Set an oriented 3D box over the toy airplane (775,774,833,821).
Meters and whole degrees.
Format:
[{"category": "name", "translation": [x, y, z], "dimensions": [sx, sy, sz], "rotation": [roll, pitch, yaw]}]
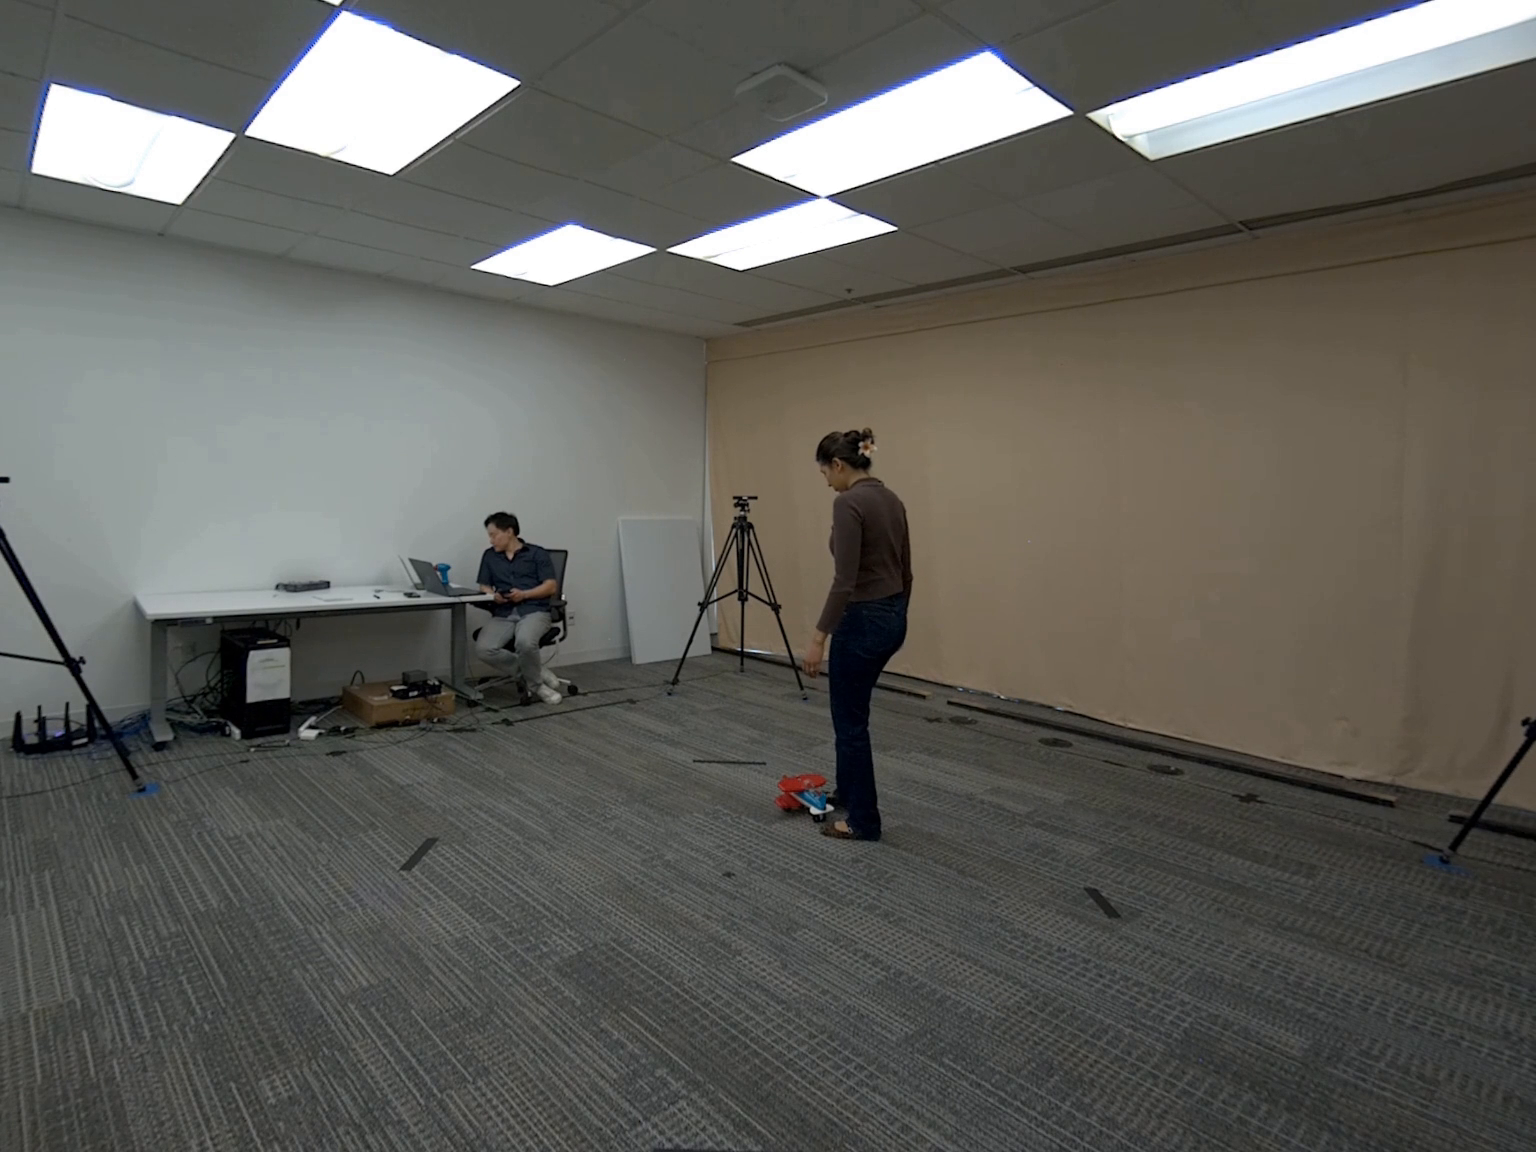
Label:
[{"category": "toy airplane", "translation": [0.172, 0.973, 3.729], "dimensions": [0.264, 0.156, 0.247], "rotation": [2, 4, 26]}]
